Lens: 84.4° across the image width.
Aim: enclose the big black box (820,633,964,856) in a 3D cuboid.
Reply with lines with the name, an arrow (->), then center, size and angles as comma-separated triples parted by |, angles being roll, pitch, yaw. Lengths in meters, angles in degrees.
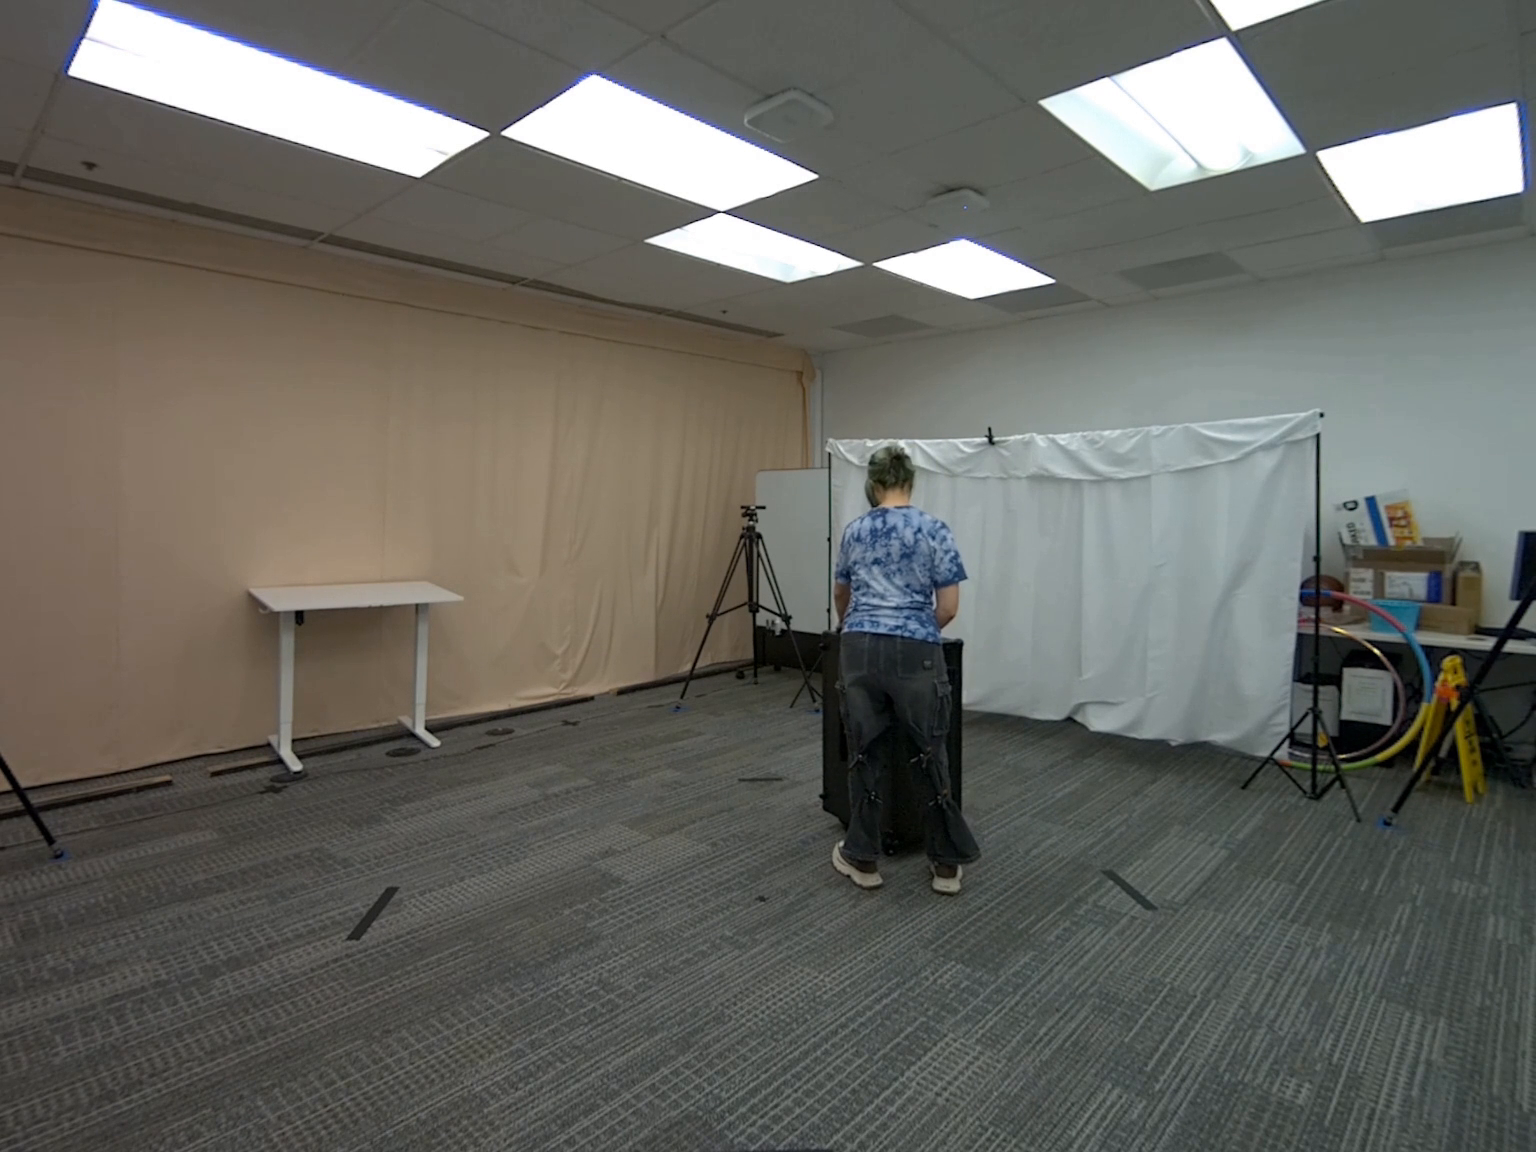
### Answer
big black box -> 0.511, 0.673, 3.516 | 0.386, 0.859, 0.536 | -3, 4, -30
